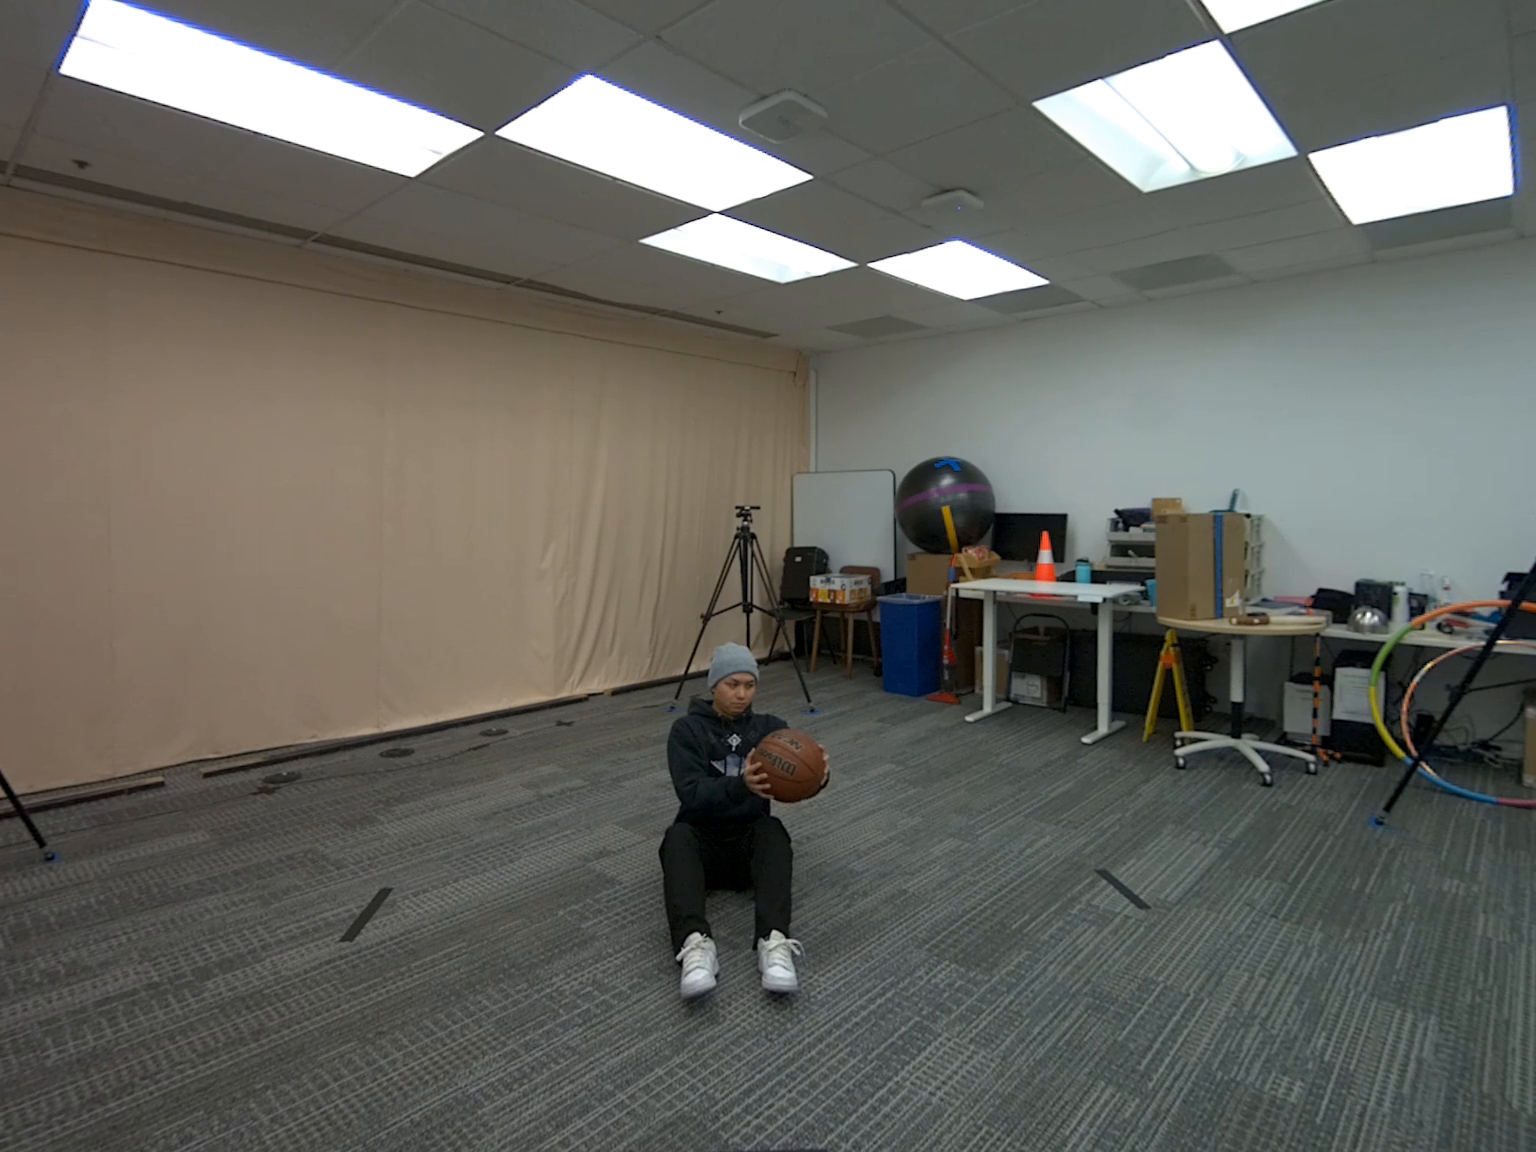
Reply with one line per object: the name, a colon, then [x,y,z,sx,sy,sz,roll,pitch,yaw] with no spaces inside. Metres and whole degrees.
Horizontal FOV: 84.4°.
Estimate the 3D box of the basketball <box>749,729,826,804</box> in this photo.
basketball: [0.066,0.632,2.799,0.236,0.235,0.237,0,4,-2]
